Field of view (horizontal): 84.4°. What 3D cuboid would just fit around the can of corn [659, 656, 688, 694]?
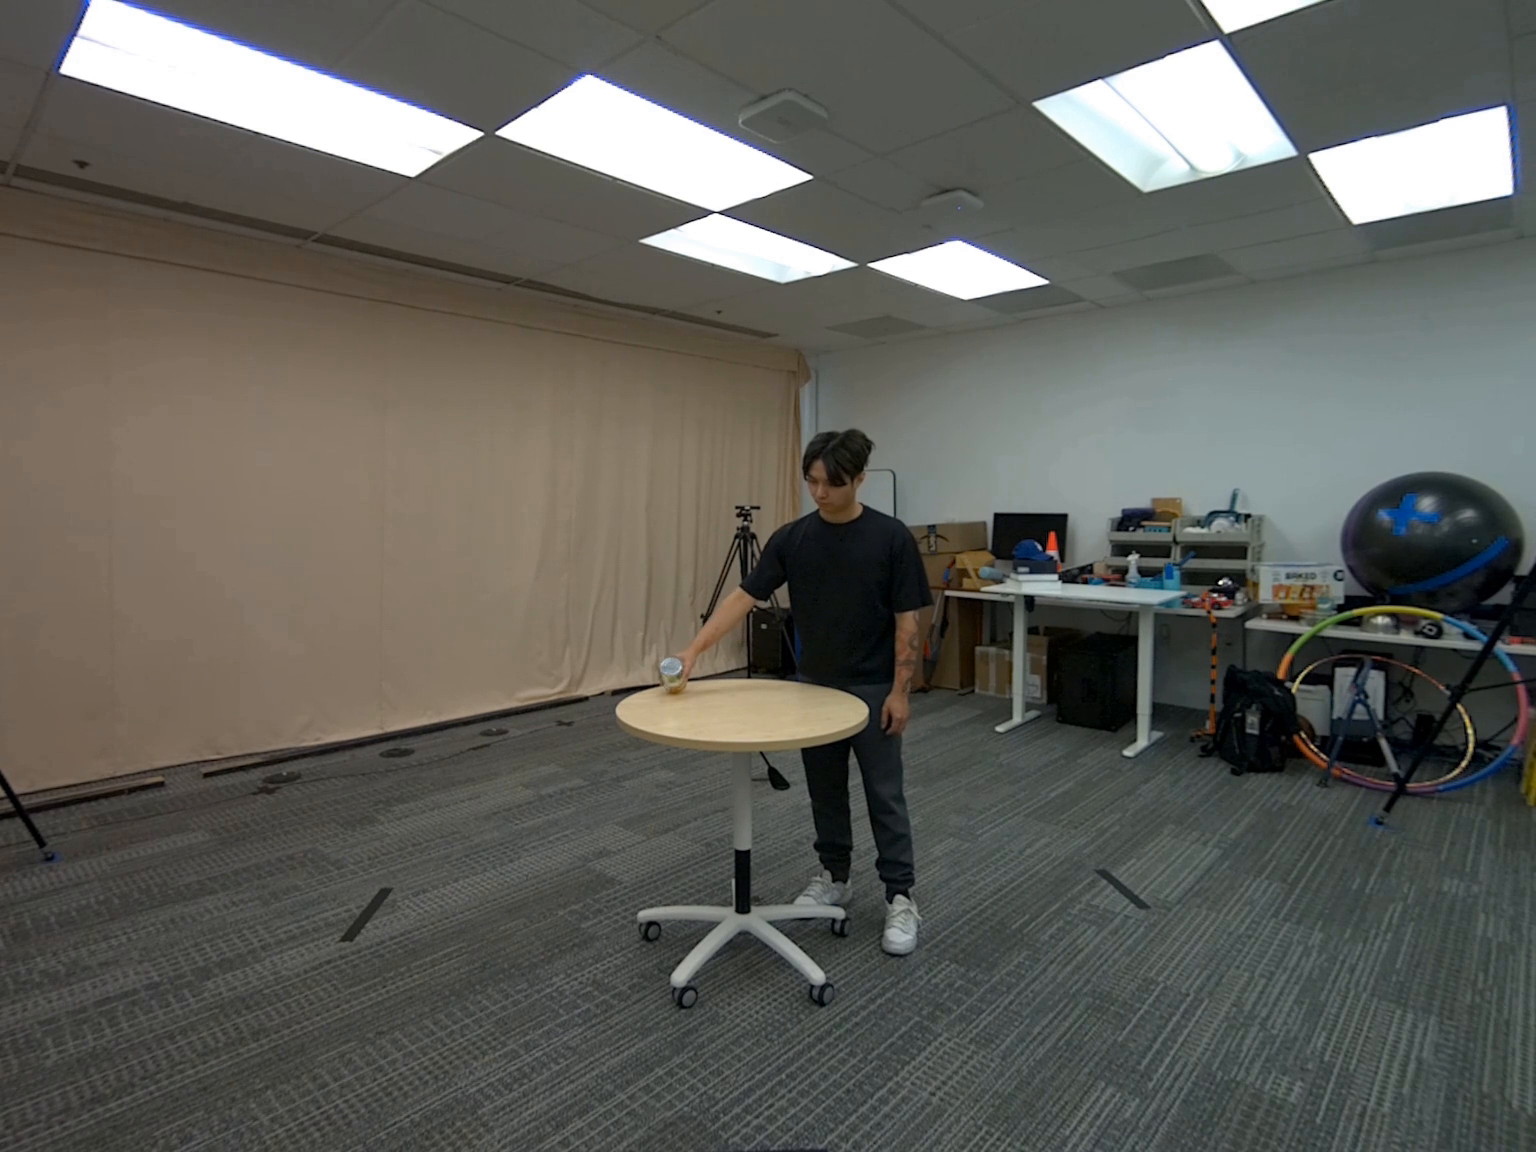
[{"bbox_3d":[-0.304,0.328,2.727,0.074,0.108,0.075,-4,44,2],"label":"can of corn"}]
